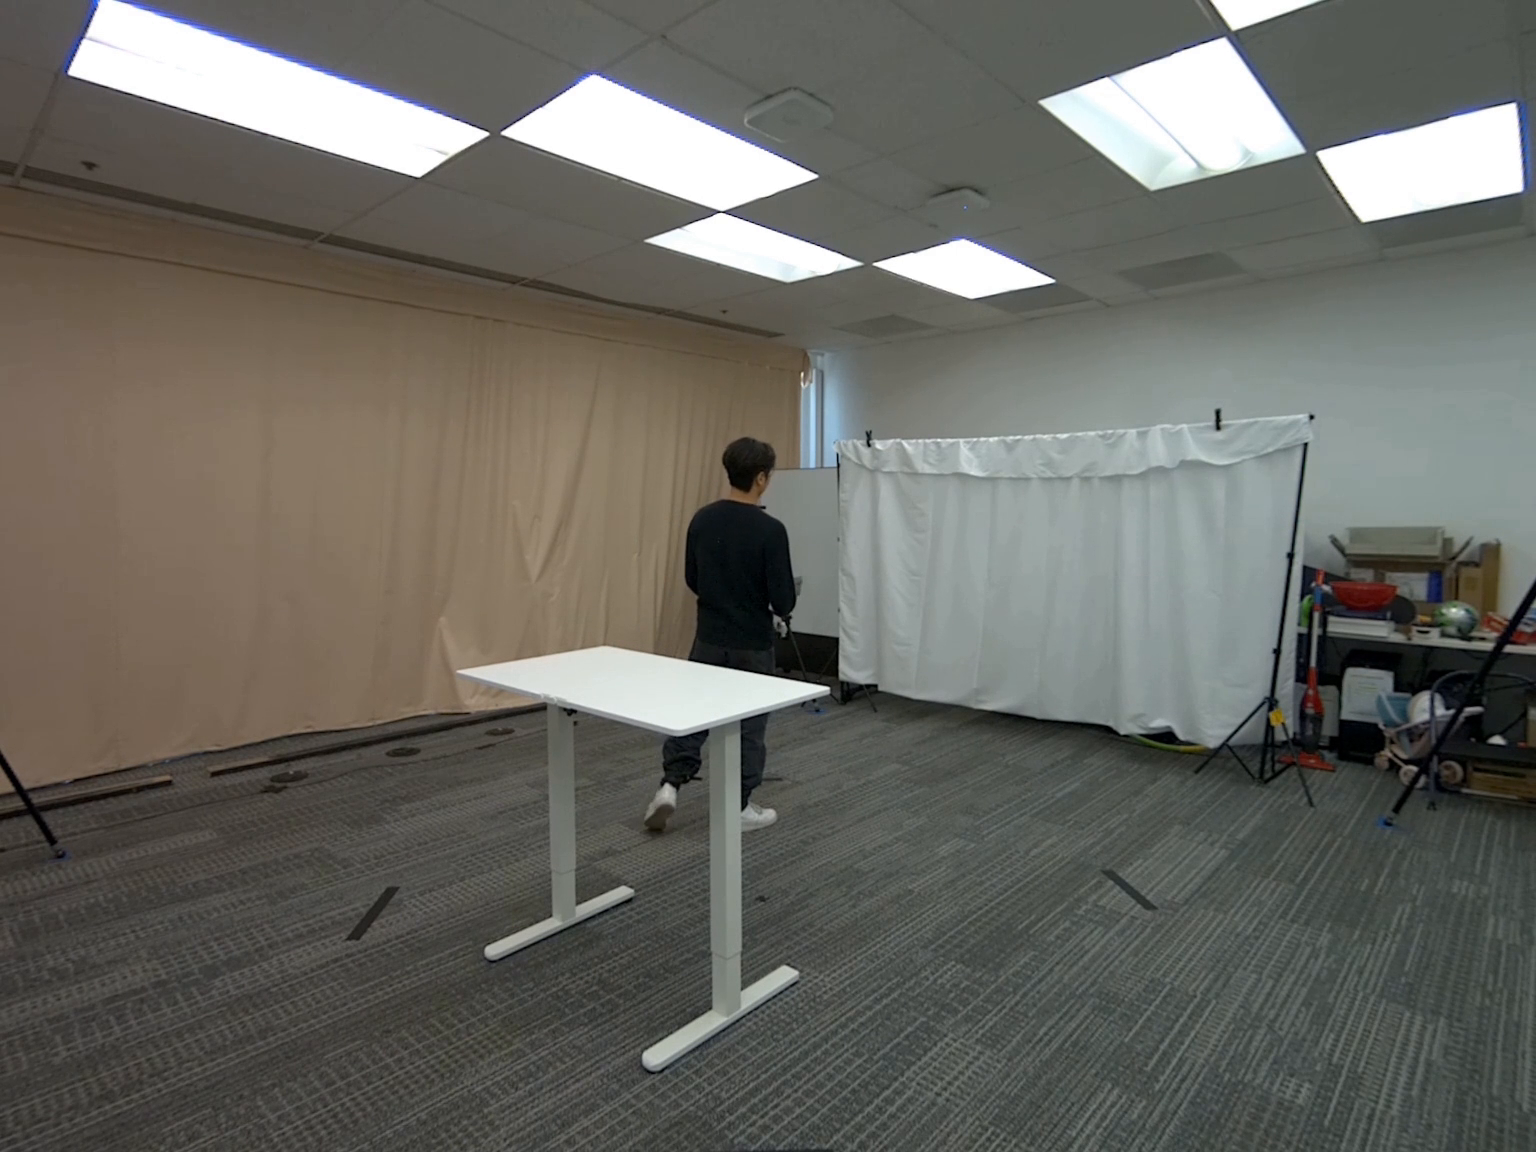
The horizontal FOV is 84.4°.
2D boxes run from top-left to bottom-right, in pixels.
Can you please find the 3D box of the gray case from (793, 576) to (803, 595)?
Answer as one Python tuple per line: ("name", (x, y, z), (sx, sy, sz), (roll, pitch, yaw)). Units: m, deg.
("gray case", (-0.020, 0.032, 3.857), (0.269, 0.104, 0.250), (9, 11, 32))
